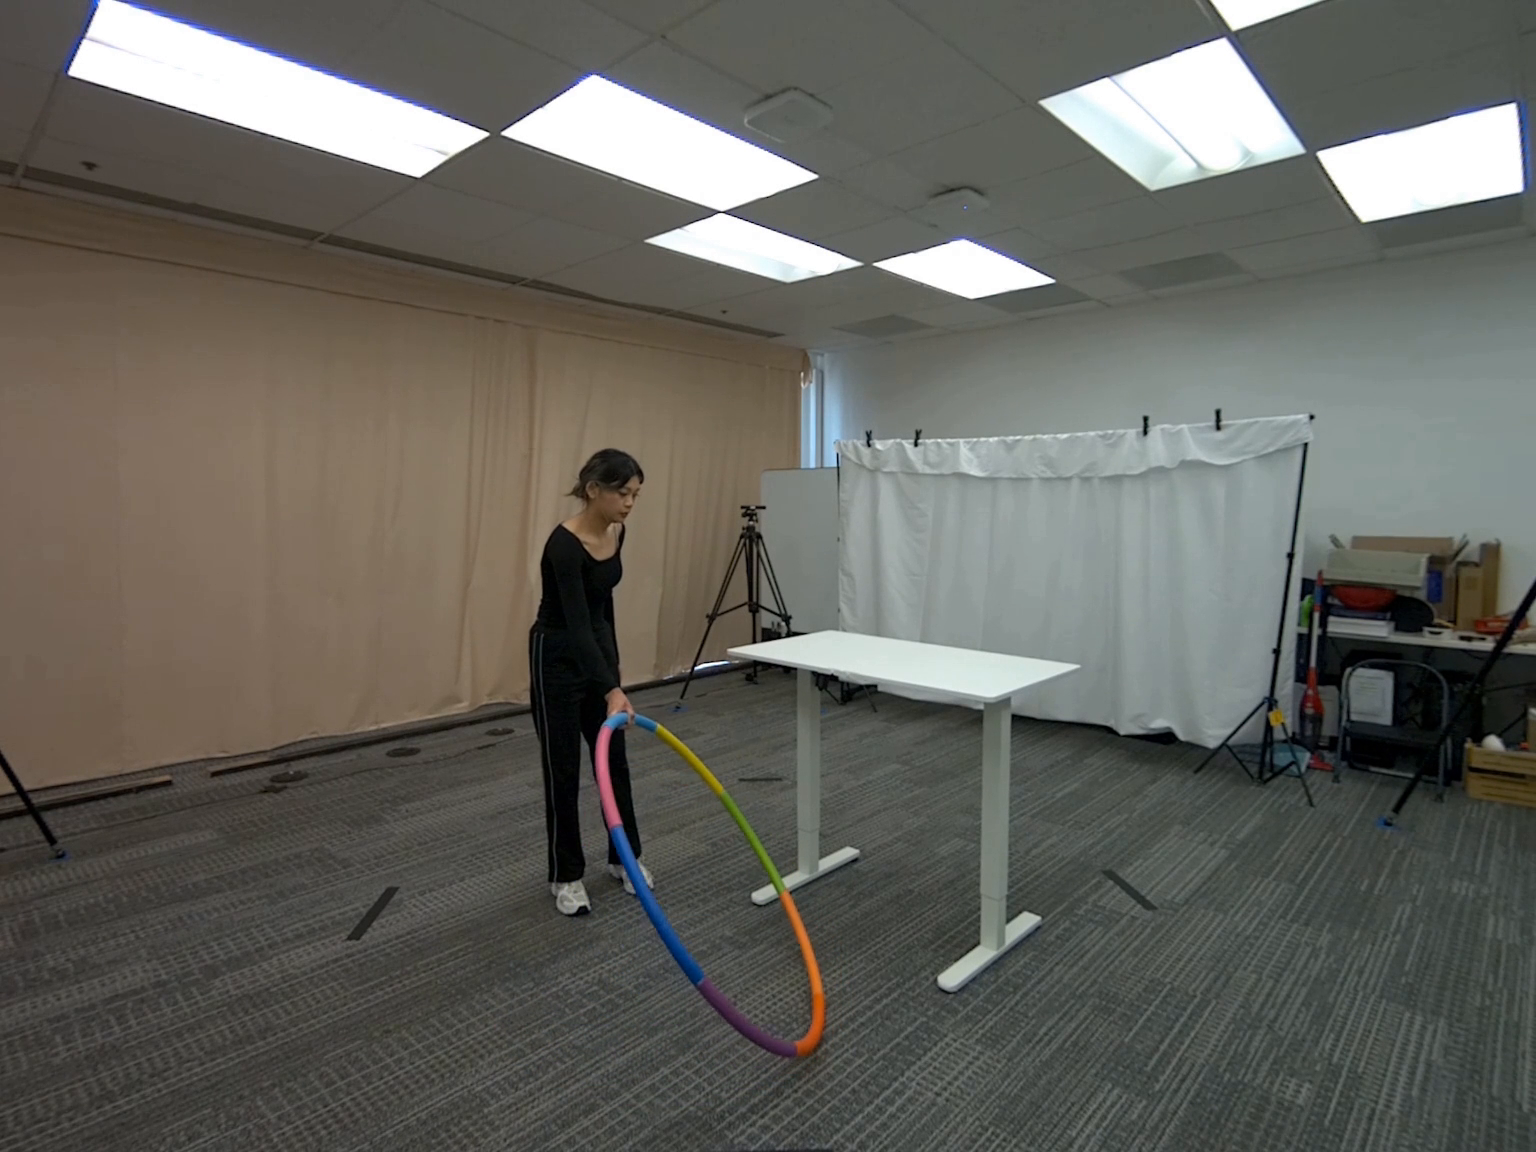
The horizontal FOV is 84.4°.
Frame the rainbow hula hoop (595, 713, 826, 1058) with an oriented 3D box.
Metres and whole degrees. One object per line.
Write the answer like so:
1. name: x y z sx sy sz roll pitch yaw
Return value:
1. rainbow hula hoop: -0.144 0.801 2.306 0.035 0.981 0.973 -38 -1 7
